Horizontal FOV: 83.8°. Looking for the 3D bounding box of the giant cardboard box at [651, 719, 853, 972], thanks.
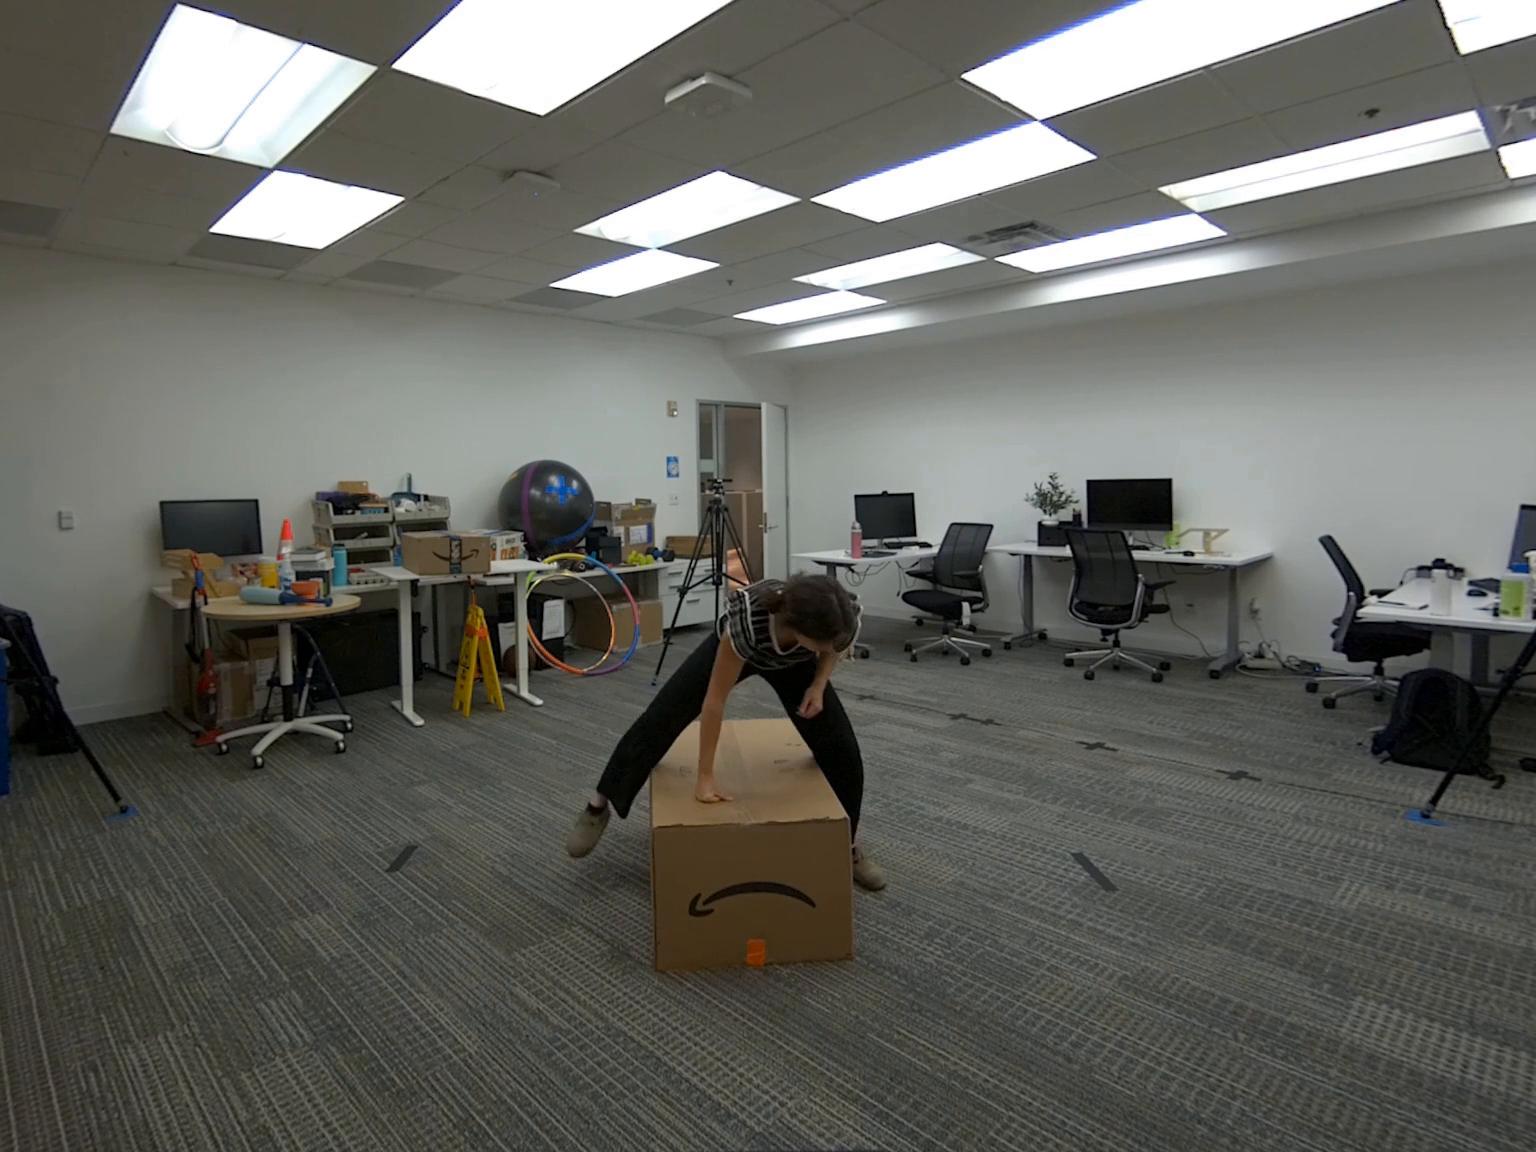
[{"bbox_3d":[-0.108,0.859,2.947,0.574,0.424,1.037,-2,7,-7],"label":"giant cardboard box"}]
